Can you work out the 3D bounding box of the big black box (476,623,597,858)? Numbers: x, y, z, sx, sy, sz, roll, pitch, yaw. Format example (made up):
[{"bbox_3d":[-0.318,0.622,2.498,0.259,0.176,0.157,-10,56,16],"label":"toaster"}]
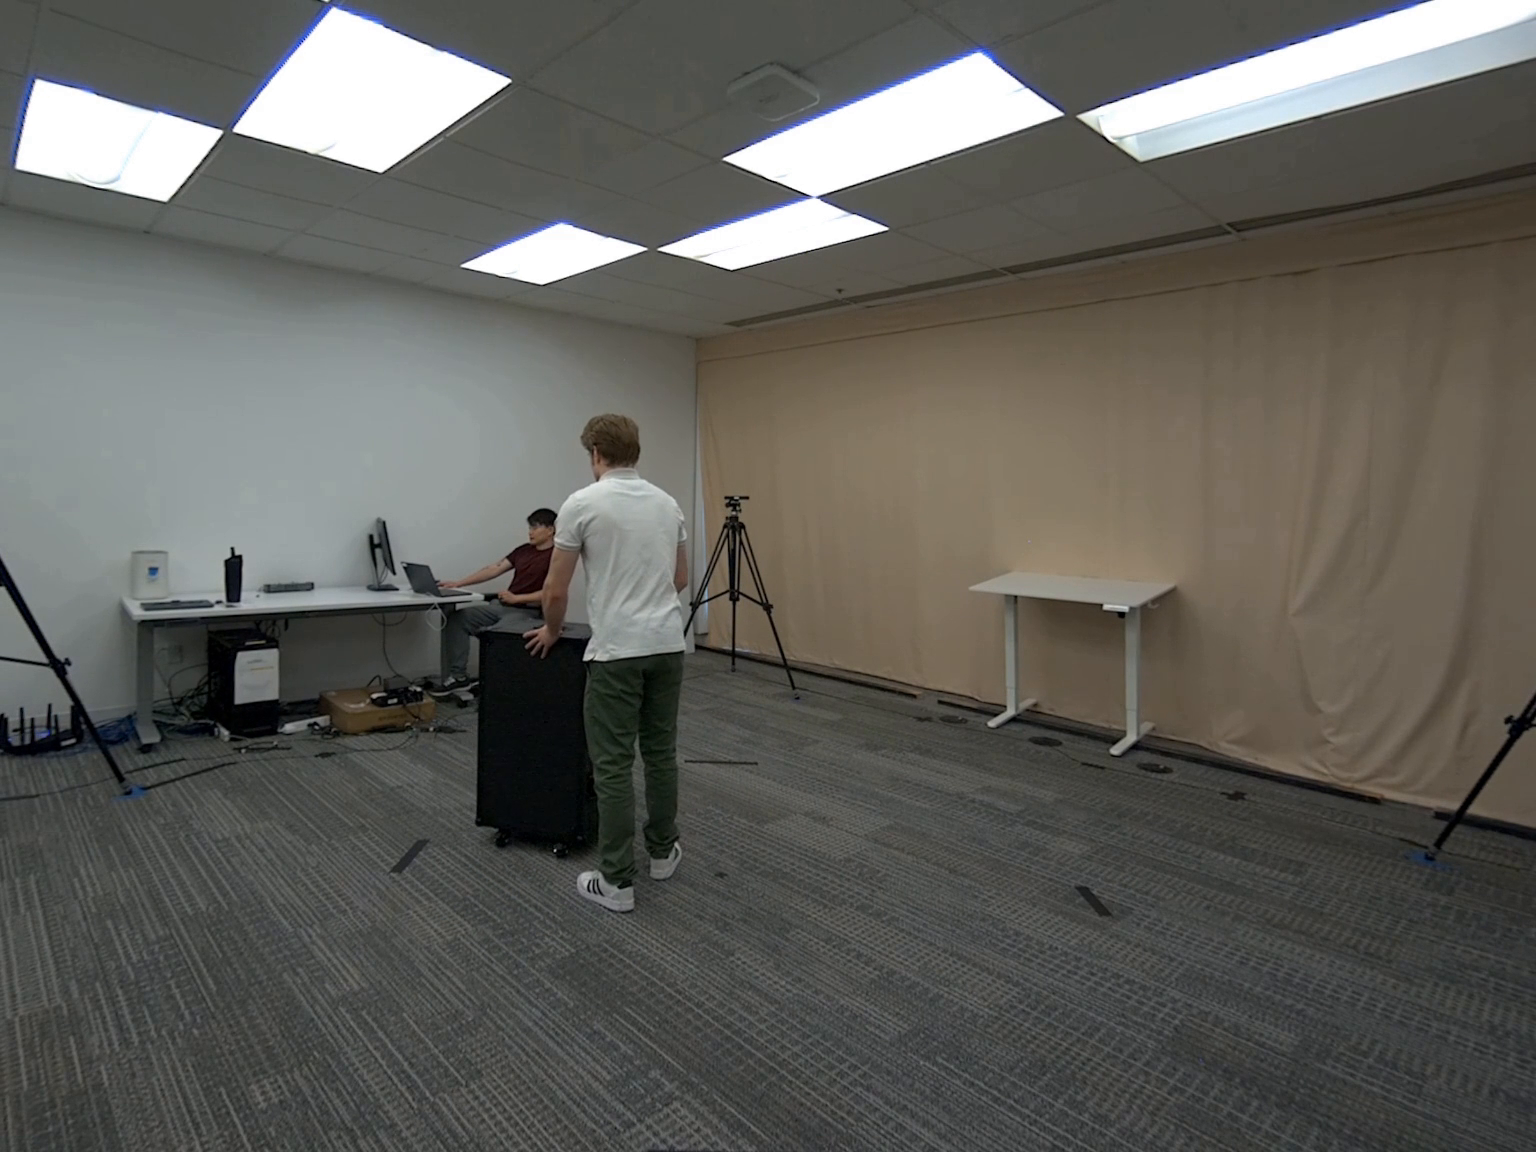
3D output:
[{"bbox_3d":[-0.875,0.634,3.414,0.531,0.867,0.380,4,3,18],"label":"big black box"}]
